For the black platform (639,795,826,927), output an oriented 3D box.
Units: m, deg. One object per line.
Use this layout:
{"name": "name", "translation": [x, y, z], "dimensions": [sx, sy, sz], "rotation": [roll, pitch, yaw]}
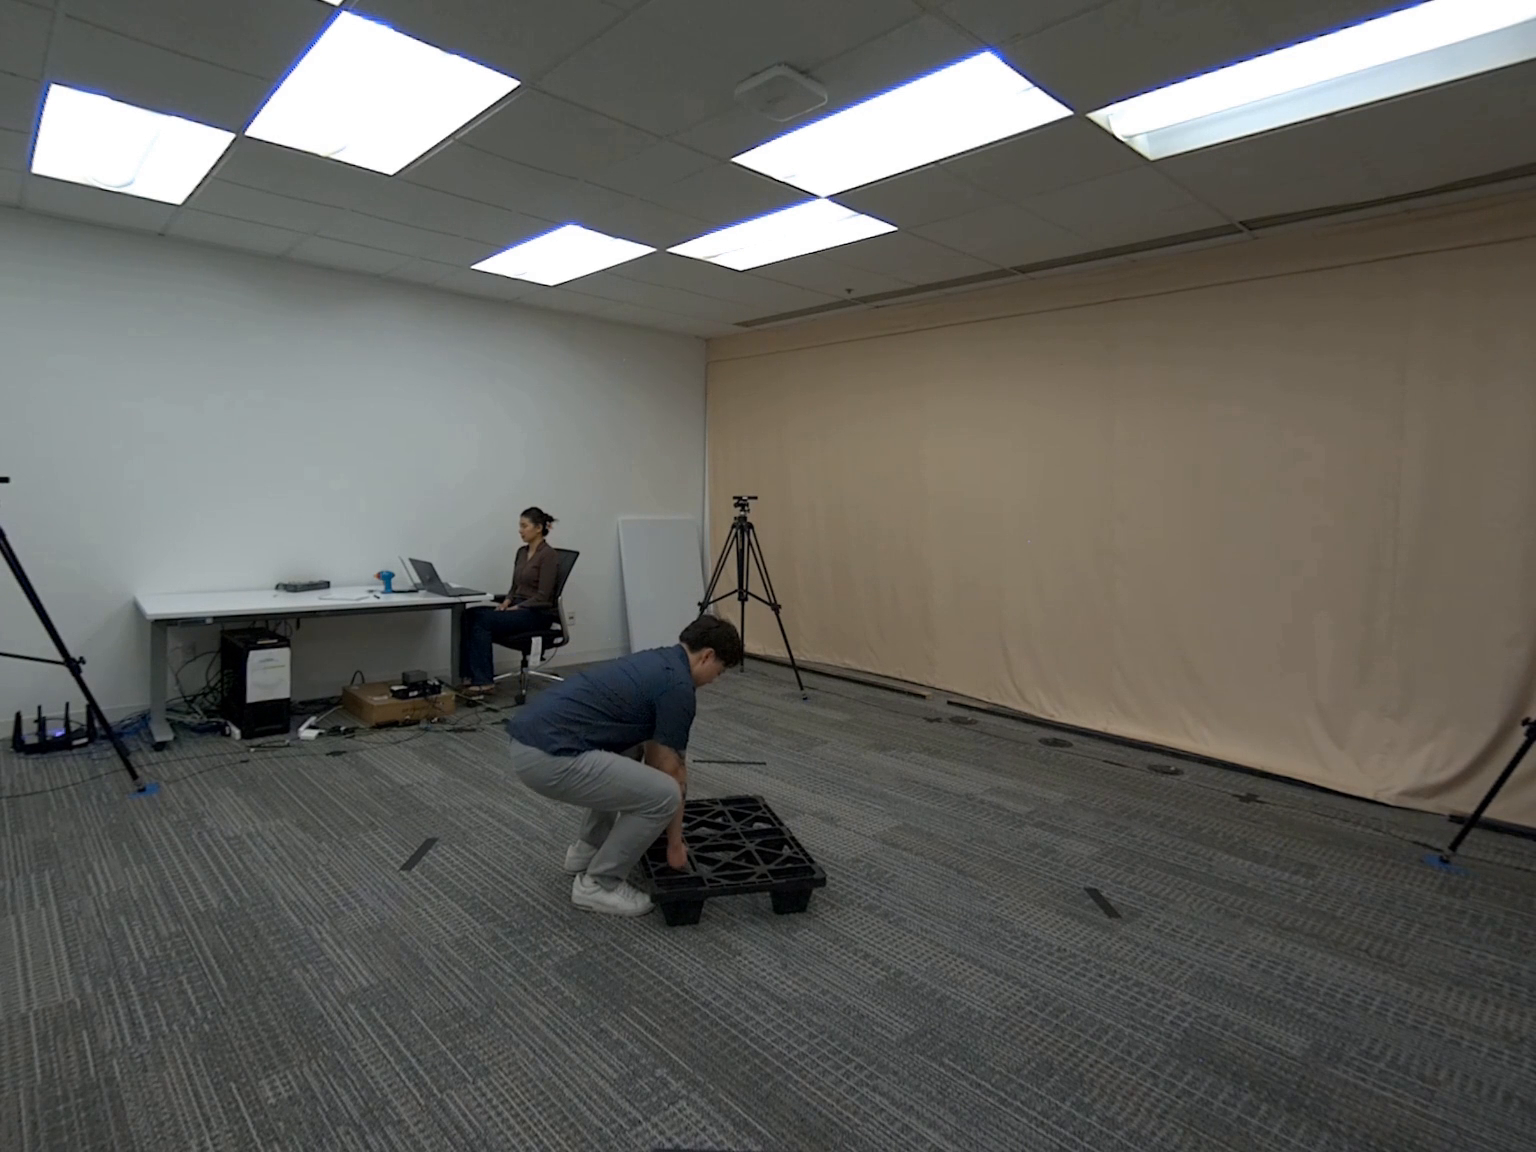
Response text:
{"name": "black platform", "translation": [-0.205, 1.031, 3.124], "dimensions": [0.598, 0.143, 0.818], "rotation": [1, 5, -16]}
